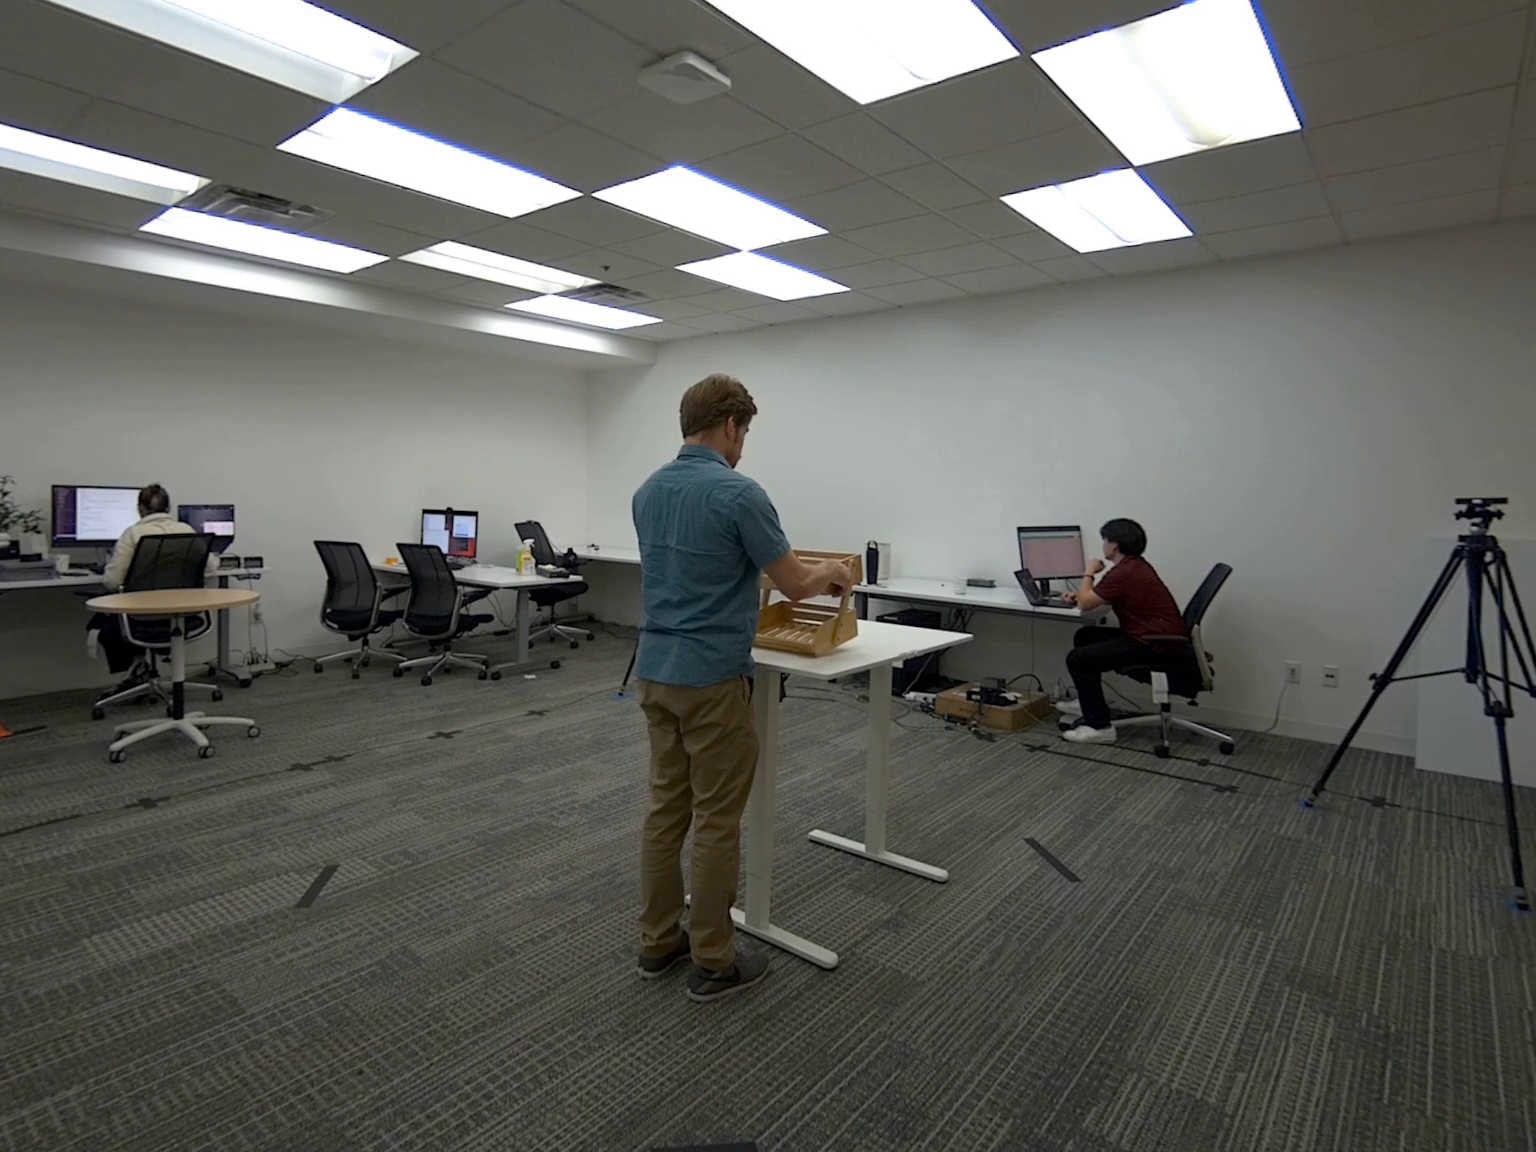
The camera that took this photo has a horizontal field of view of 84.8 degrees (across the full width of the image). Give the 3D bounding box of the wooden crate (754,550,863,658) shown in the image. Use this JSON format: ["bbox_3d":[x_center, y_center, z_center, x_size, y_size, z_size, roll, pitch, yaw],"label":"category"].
[{"bbox_3d":[0.095,0.074,2.742,0.335,0.270,0.295,5,16,39],"label":"wooden crate"}]
